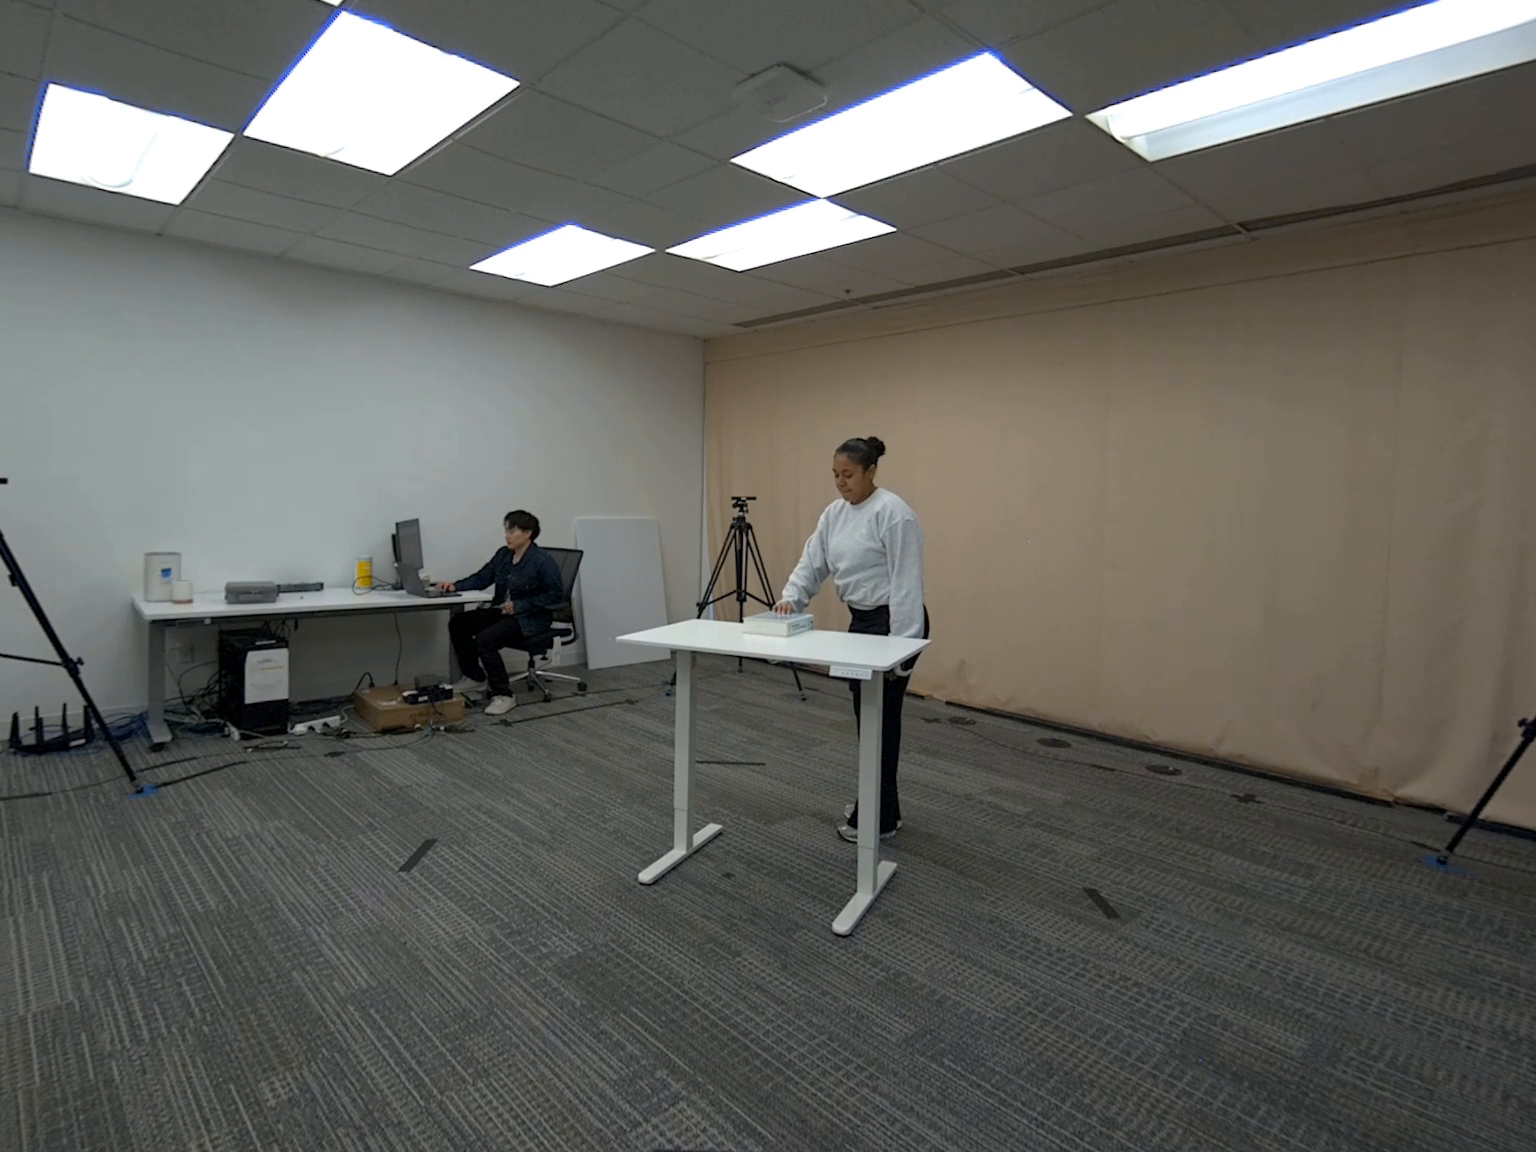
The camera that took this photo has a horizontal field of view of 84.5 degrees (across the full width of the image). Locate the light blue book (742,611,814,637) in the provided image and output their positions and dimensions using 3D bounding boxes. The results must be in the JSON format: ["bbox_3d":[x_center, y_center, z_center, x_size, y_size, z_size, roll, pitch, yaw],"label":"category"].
[{"bbox_3d":[0.038,0.188,3.263,0.195,0.059,0.256,4,5,27],"label":"light blue book"}]
